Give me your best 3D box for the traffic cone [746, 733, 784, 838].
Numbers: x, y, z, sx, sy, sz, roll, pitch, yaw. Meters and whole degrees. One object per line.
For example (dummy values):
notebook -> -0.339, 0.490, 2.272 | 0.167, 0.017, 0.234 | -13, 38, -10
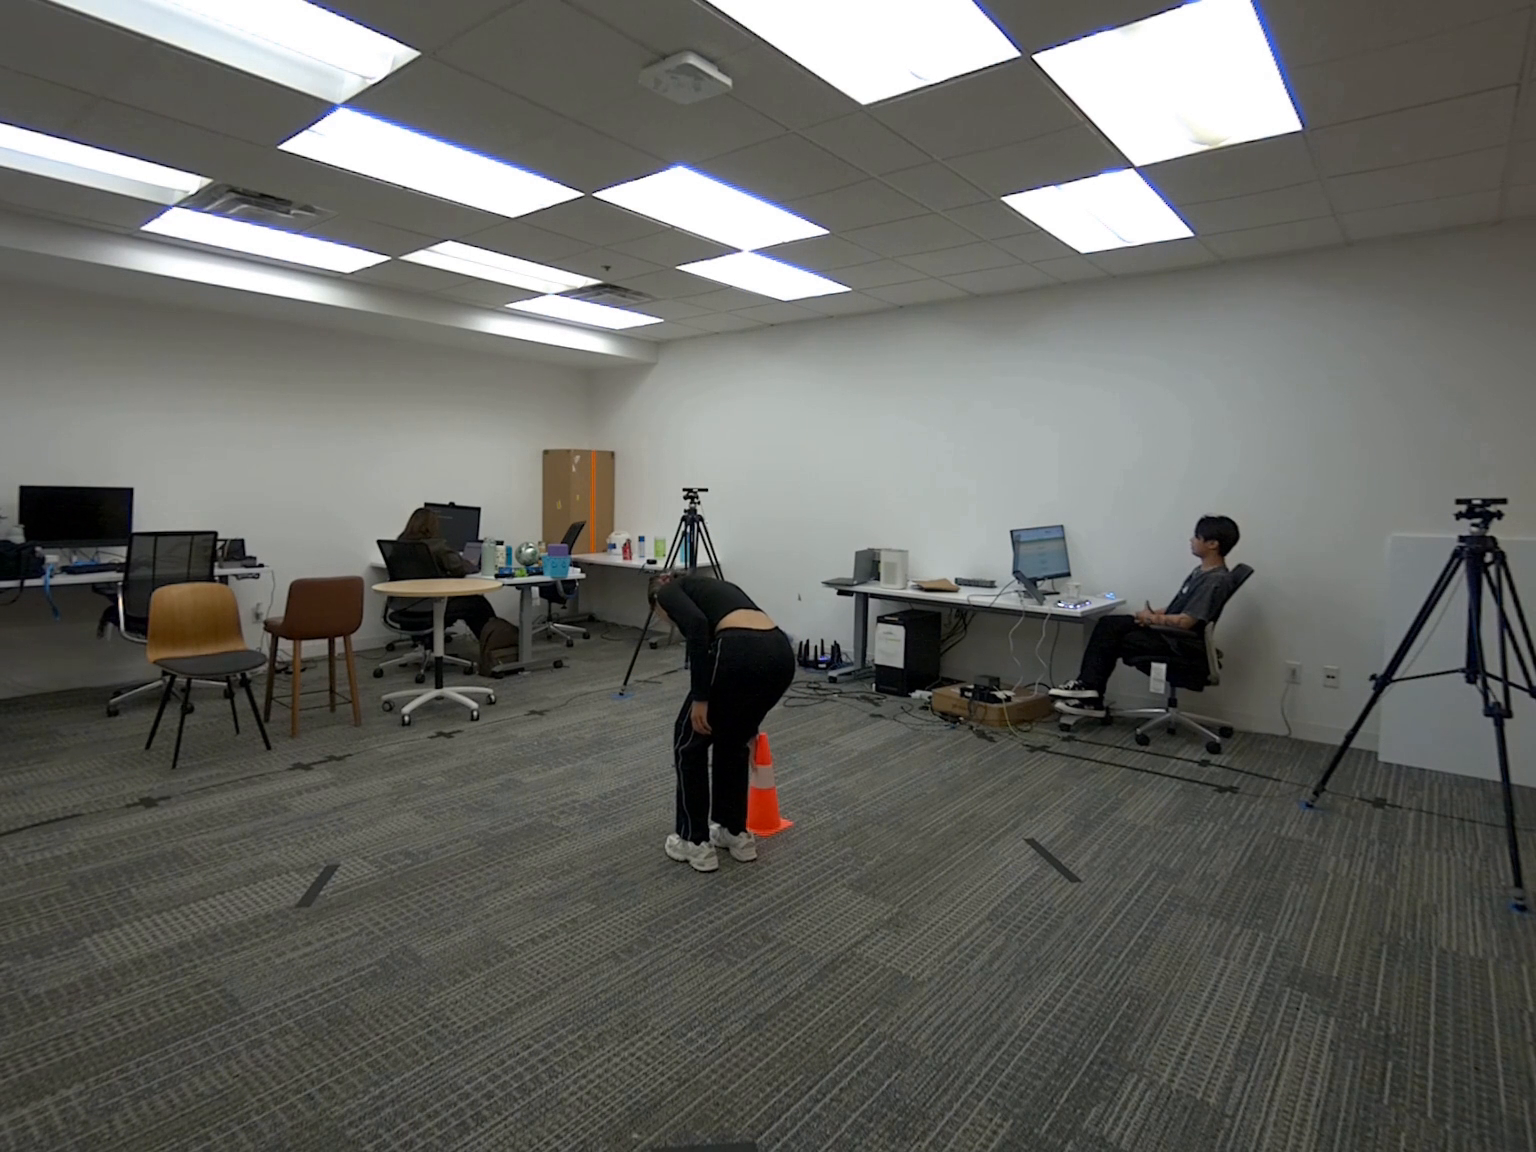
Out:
traffic cone -> -0.034, 0.844, 3.549 | 0.212, 0.383, 0.197 | 3, 3, 43
